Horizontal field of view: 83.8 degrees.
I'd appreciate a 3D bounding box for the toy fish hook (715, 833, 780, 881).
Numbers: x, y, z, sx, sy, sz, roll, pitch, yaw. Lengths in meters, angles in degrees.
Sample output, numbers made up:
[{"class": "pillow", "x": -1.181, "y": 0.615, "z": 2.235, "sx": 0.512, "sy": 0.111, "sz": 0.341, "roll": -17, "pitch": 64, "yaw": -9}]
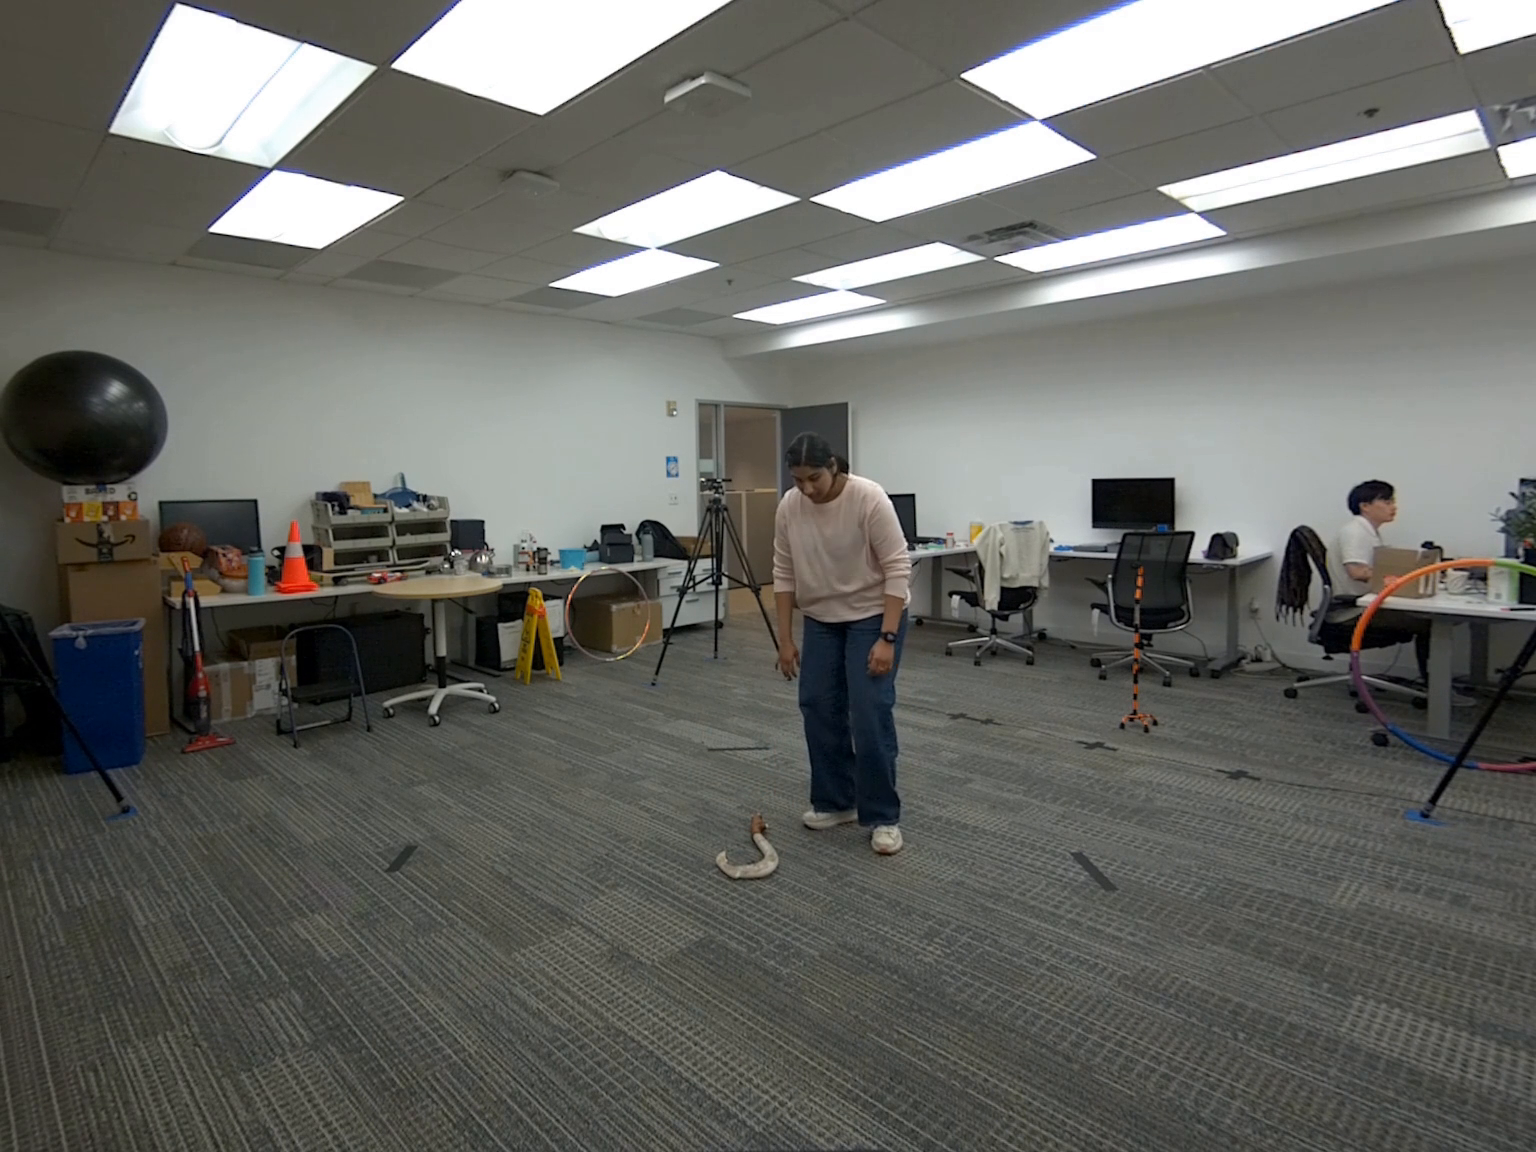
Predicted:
[{"class": "toy fish hook", "x": -0.082, "y": 1.009, "z": 3.220, "sx": 0.224, "sy": 0.048, "sz": 0.510, "roll": -1, "pitch": 6, "yaw": -3}]
